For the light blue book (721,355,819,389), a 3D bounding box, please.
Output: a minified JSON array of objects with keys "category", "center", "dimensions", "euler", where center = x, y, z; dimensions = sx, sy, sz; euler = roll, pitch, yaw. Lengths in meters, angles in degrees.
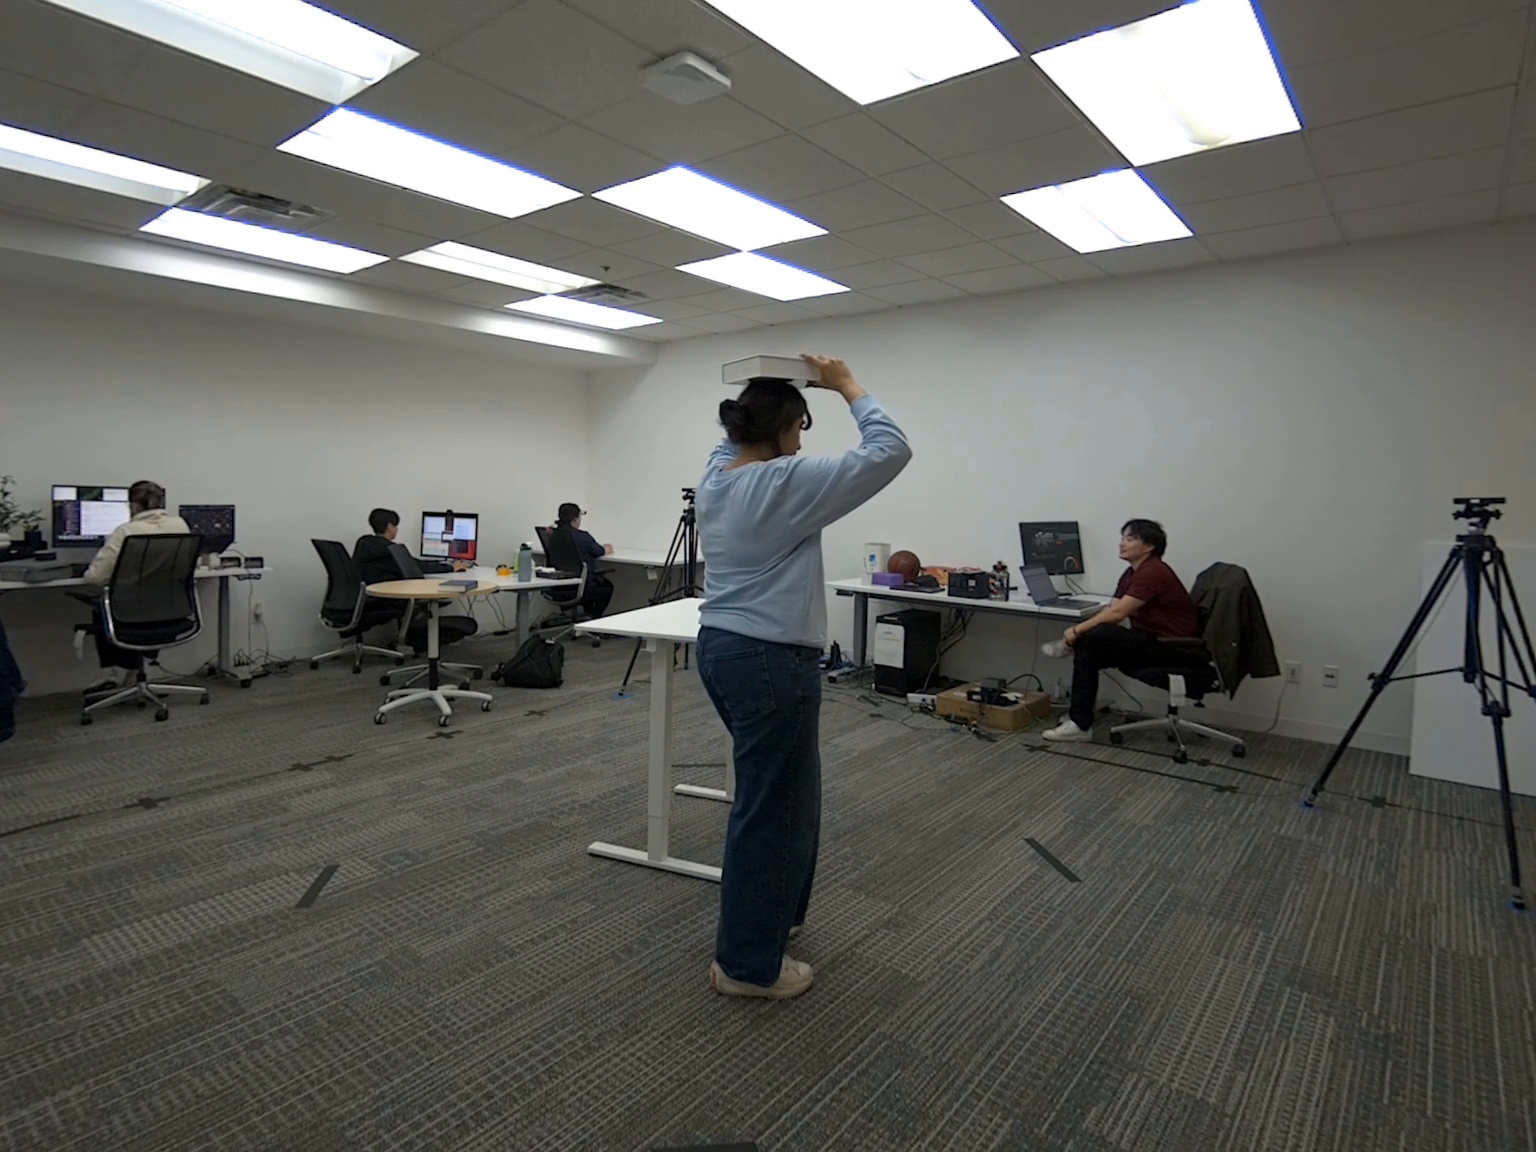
[{"category":"light blue book","center":[0.028,-0.565,2.351],"dimensions":[0.254,0.059,0.197],"euler":[-2,6,-29]}]
